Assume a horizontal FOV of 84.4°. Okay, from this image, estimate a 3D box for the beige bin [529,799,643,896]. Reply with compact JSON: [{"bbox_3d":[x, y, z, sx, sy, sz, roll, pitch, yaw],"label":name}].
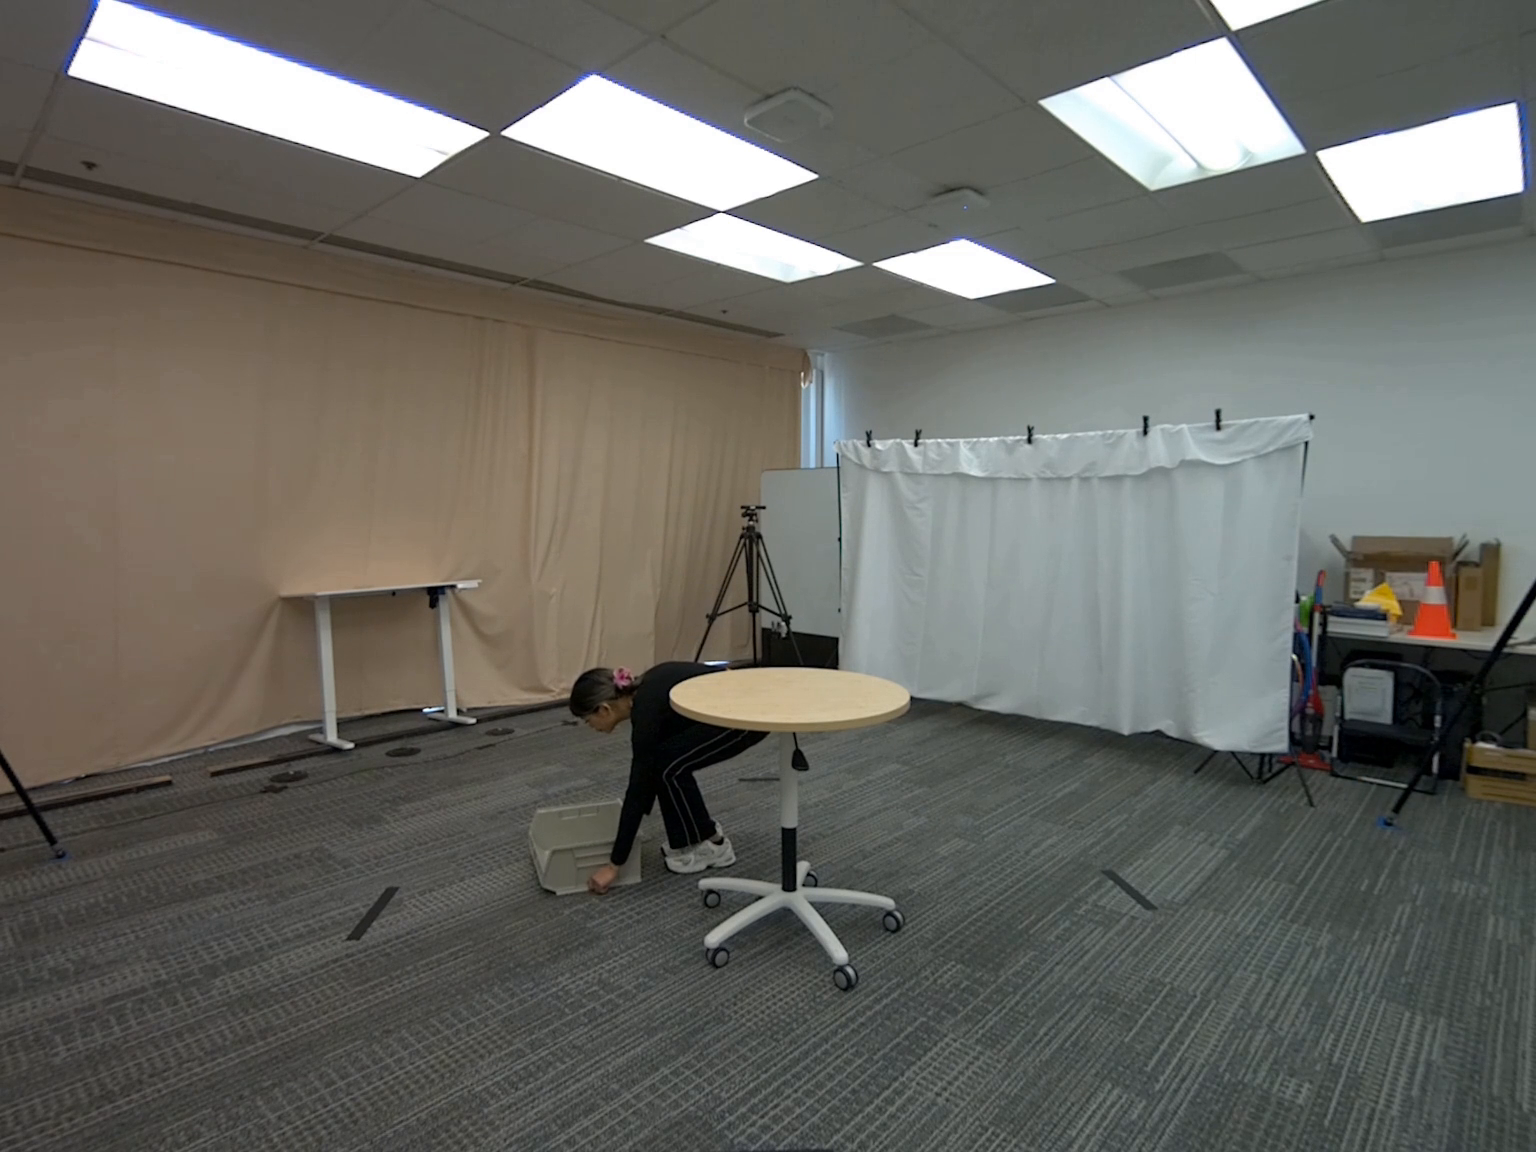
[{"bbox_3d":[-0.710,1.035,3.264,0.370,0.188,0.431,-2,4,-20],"label":"beige bin"}]
